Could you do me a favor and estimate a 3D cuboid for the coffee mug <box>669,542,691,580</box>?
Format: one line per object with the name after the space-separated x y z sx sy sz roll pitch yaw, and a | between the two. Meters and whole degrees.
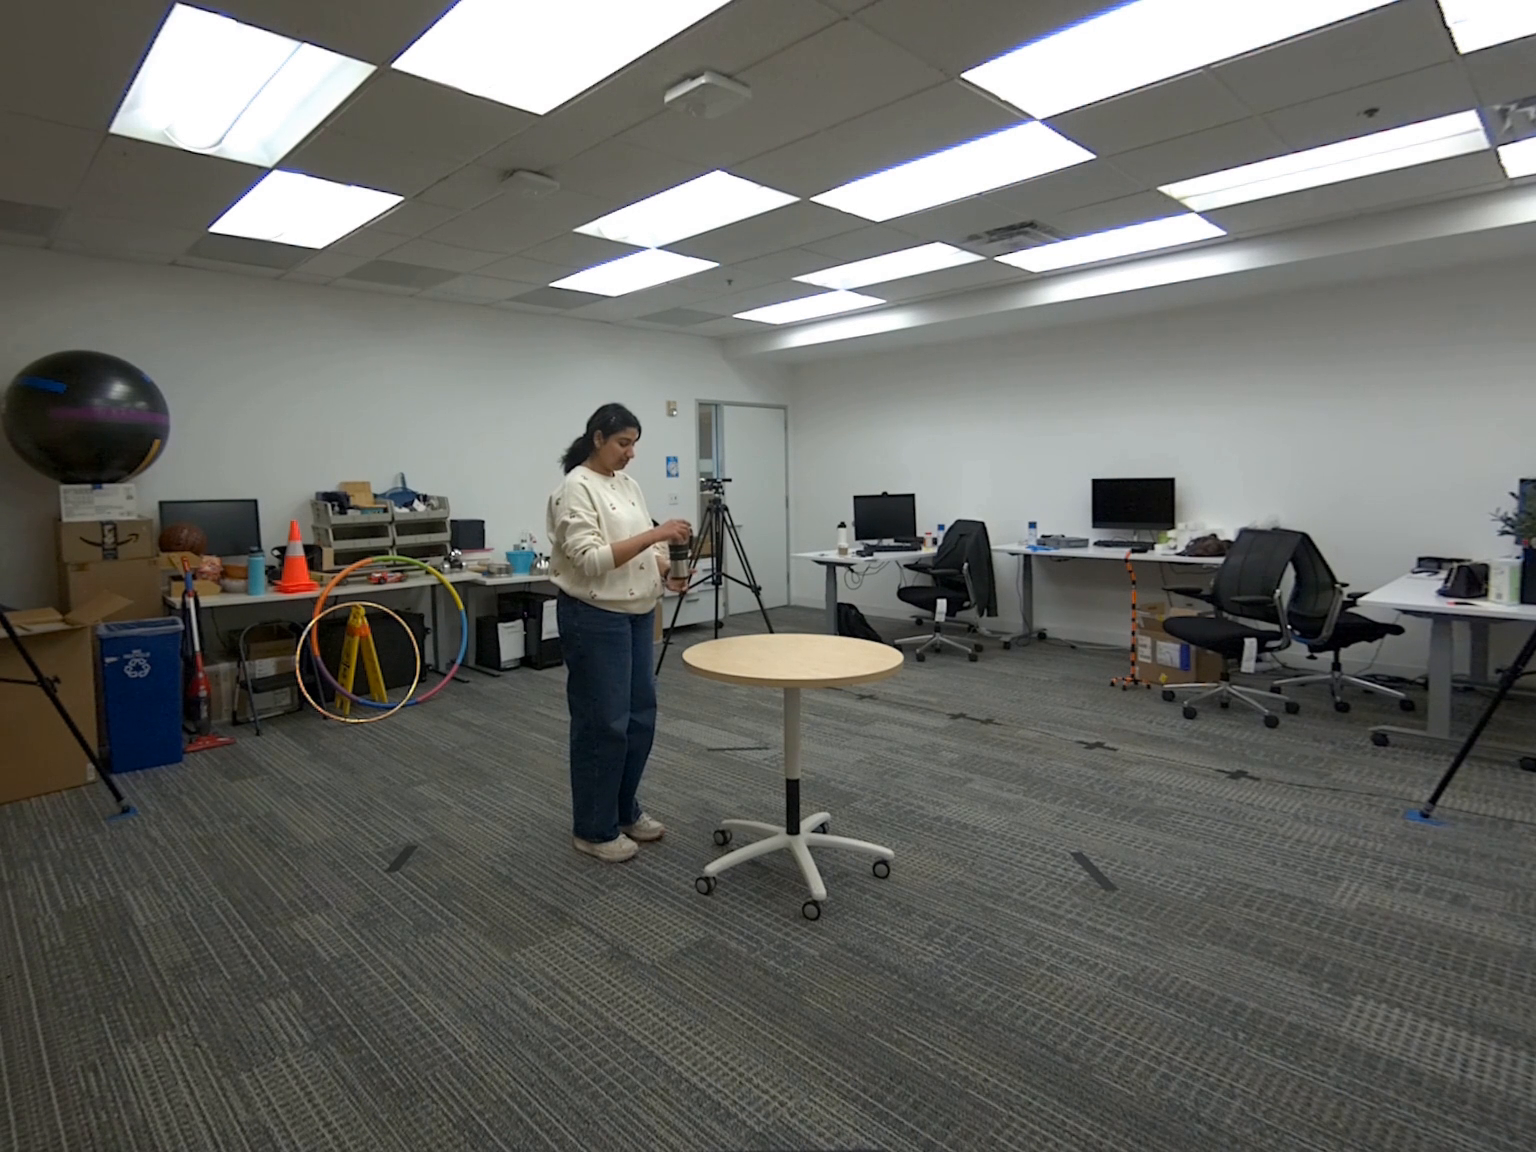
-0.318 -0.092 3.174 0.119 0.201 0.090 -11 8 -30 | coffee mug
